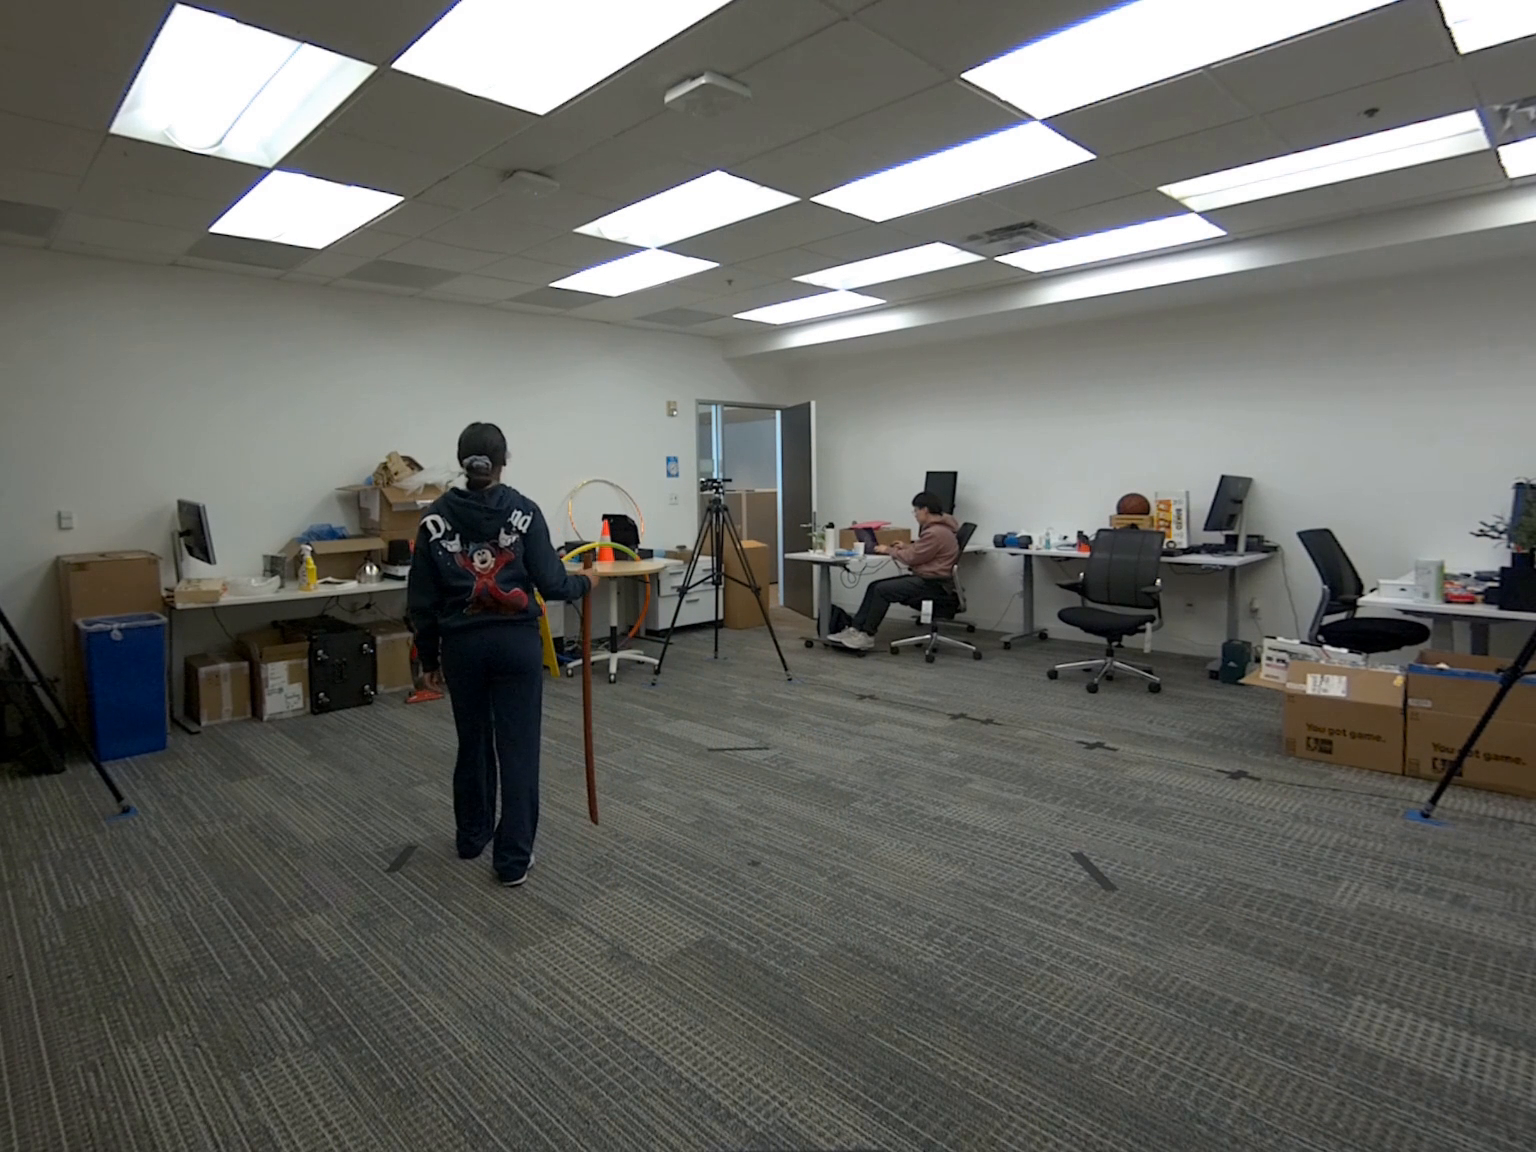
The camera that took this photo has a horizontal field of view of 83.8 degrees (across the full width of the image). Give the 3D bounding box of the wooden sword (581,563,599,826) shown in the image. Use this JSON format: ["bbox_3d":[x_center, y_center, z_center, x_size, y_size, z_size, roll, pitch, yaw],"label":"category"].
[{"bbox_3d":[-0.688,0.472,3.290,0.051,1.032,0.024,-3,-7,-11],"label":"wooden sword"}]
